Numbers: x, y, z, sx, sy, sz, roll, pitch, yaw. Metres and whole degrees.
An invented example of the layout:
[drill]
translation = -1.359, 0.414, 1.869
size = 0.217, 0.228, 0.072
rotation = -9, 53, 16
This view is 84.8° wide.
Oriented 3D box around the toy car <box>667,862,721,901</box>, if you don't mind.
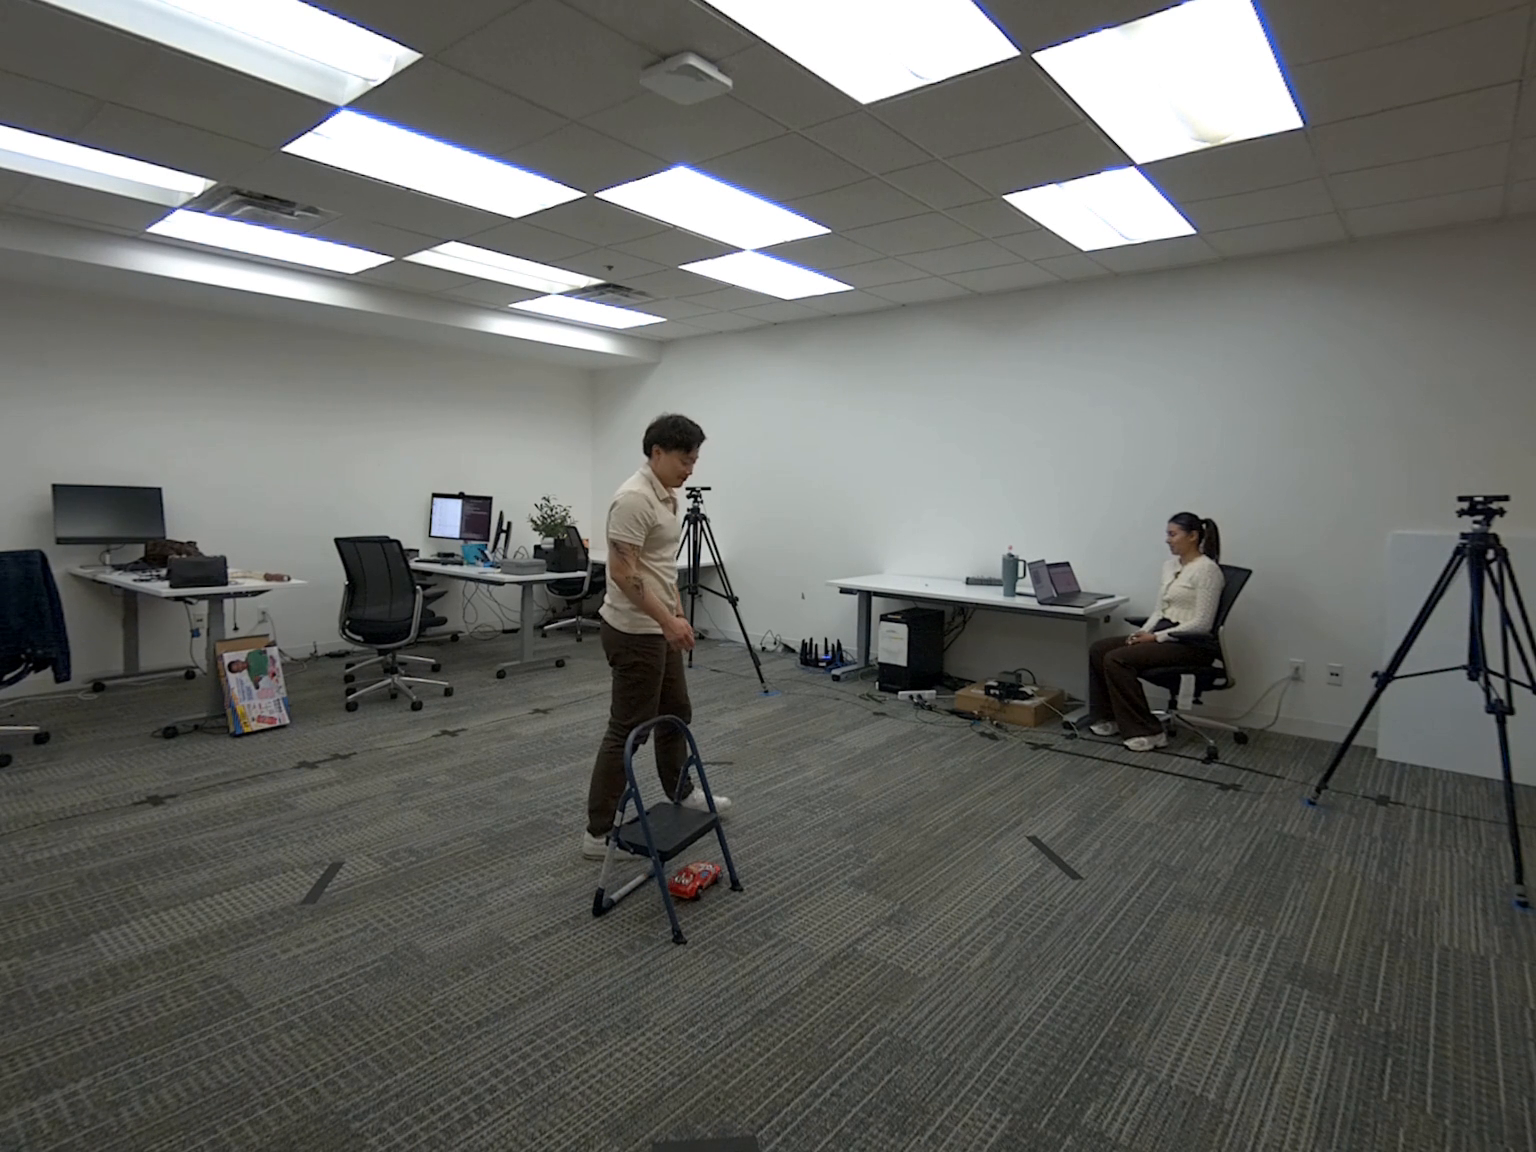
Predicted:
[toy car]
translation = -0.267, 1.052, 2.933
size = 0.134, 0.083, 0.246
rotation = 4, -5, 26
